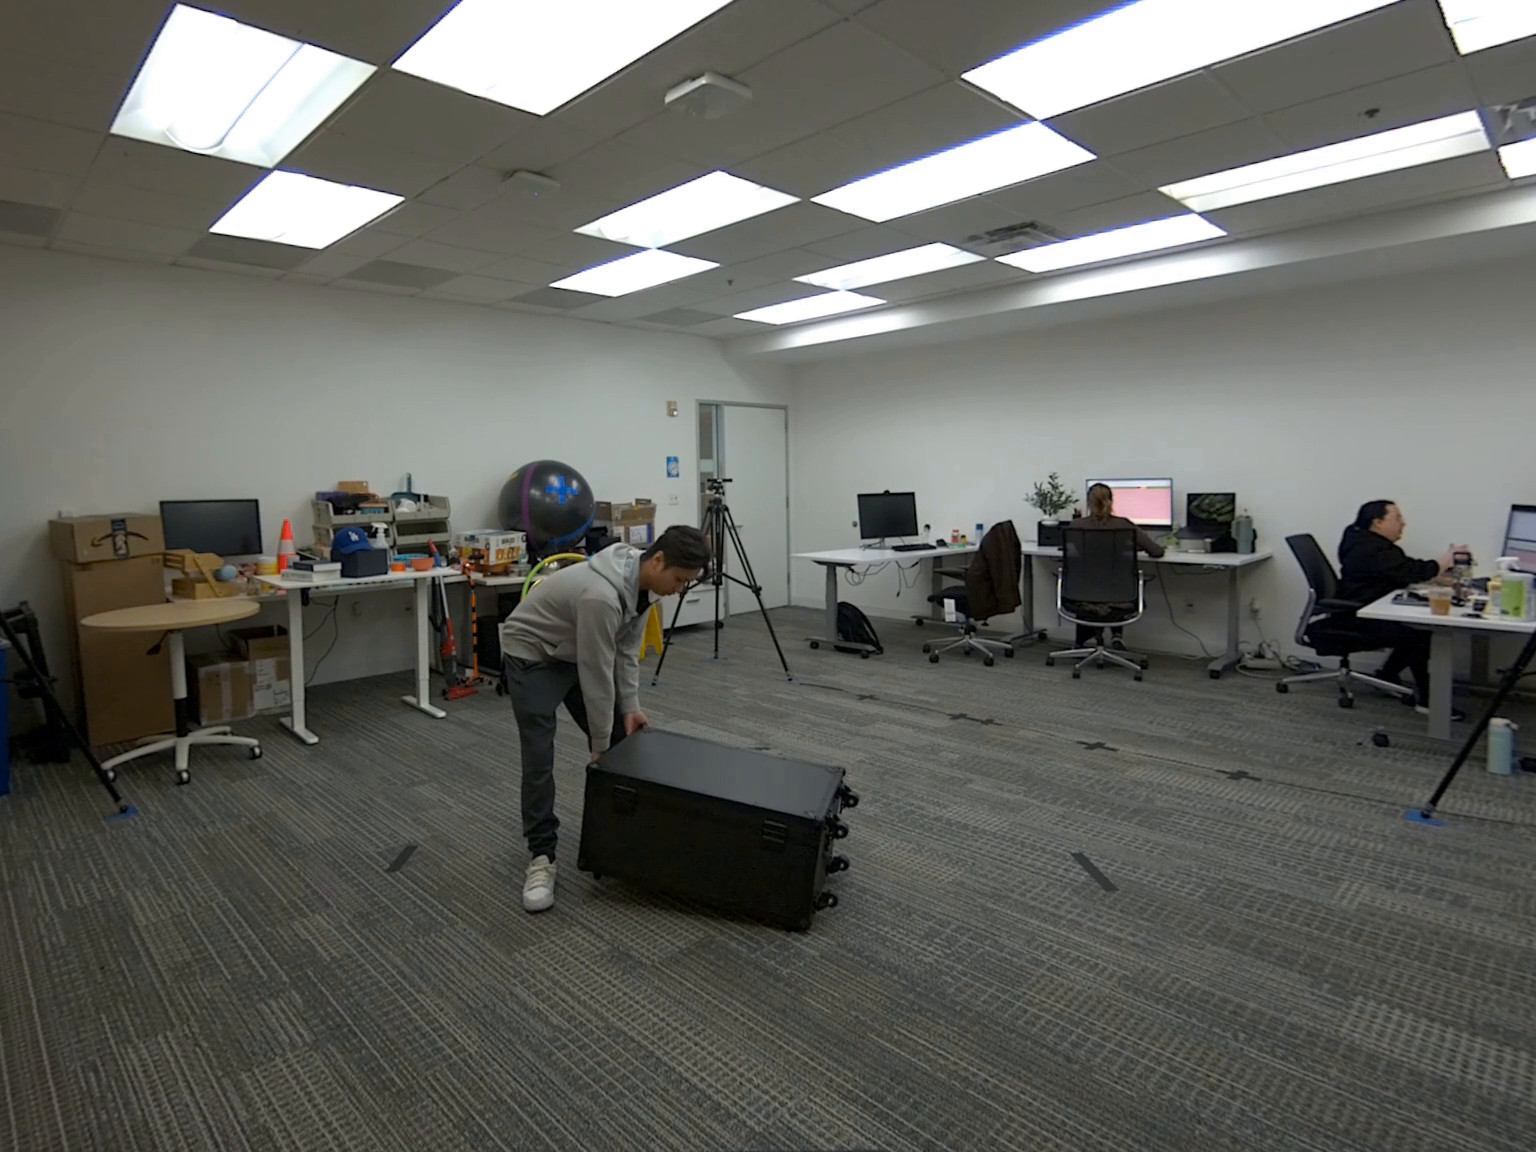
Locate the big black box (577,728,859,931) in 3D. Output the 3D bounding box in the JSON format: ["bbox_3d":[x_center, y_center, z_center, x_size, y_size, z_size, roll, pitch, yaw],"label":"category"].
[{"bbox_3d":[-0.150,0.831,2.911,0.876,0.394,0.515,7,8,15],"label":"big black box"}]
